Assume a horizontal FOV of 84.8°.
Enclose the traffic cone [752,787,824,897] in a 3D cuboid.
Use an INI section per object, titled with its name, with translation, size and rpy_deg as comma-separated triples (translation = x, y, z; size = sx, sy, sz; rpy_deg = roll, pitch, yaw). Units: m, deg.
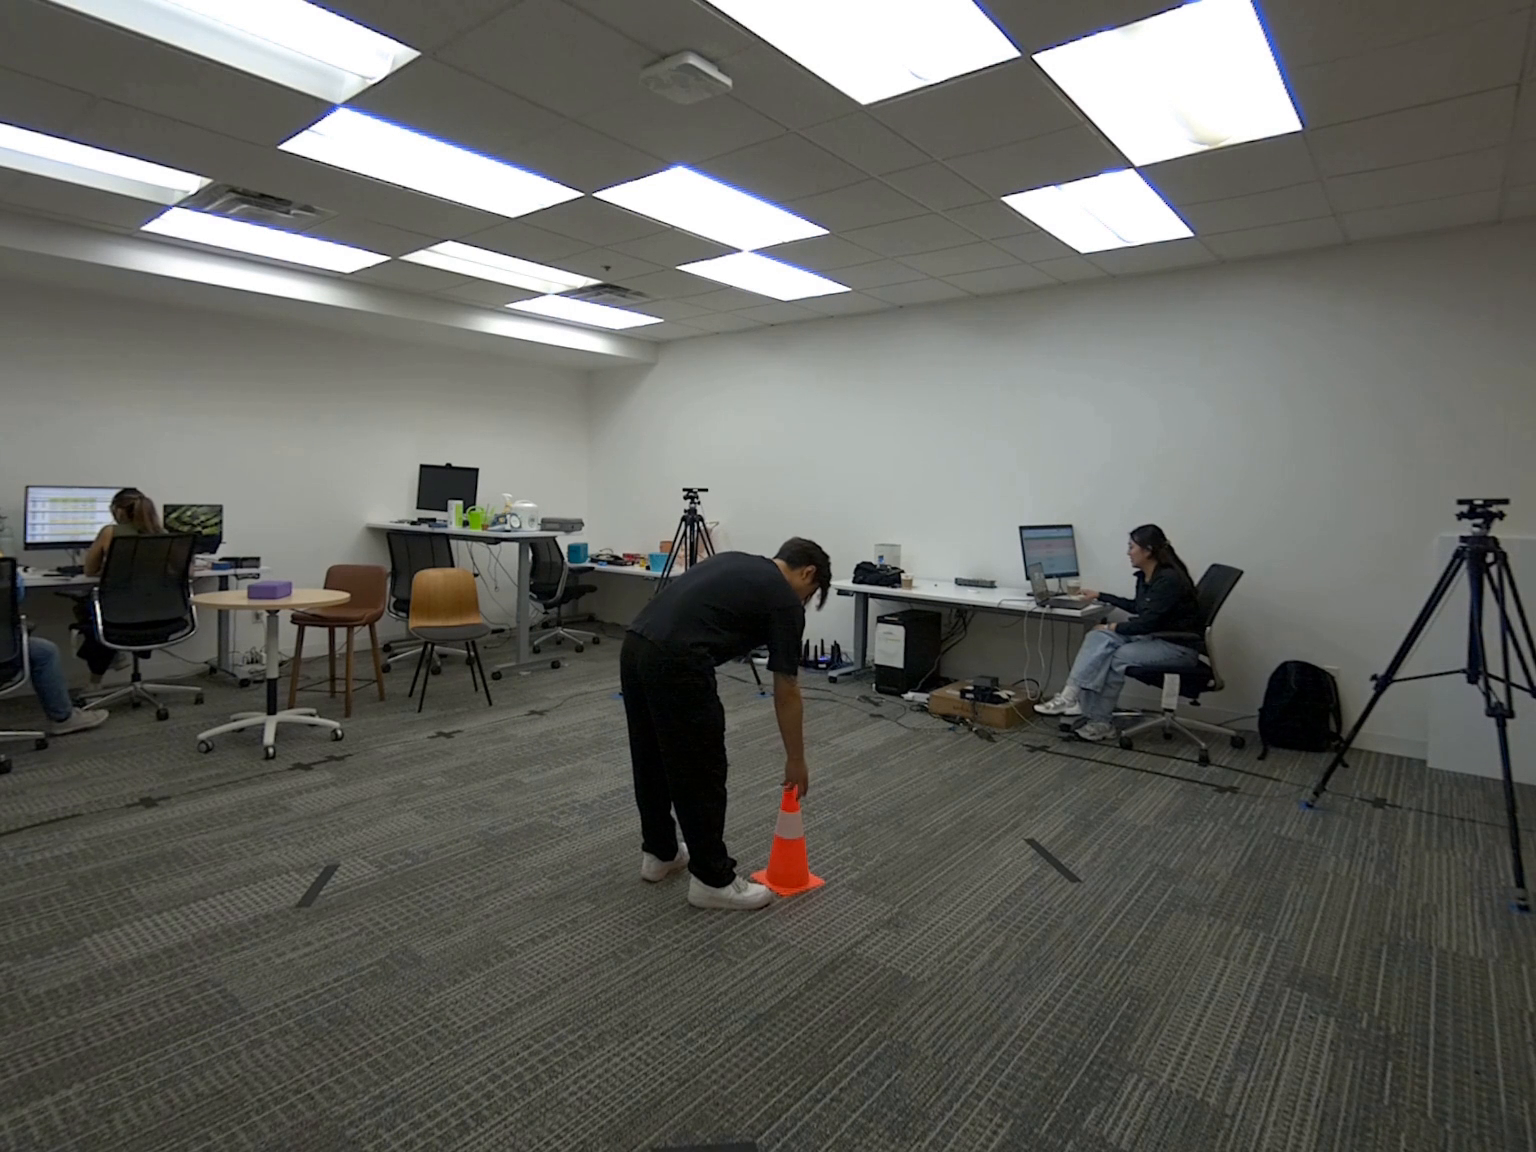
[traffic cone]
translation = 0.069, 0.906, 3.028
size = 0.197, 0.382, 0.212
rpy_deg = -3, 8, -38
